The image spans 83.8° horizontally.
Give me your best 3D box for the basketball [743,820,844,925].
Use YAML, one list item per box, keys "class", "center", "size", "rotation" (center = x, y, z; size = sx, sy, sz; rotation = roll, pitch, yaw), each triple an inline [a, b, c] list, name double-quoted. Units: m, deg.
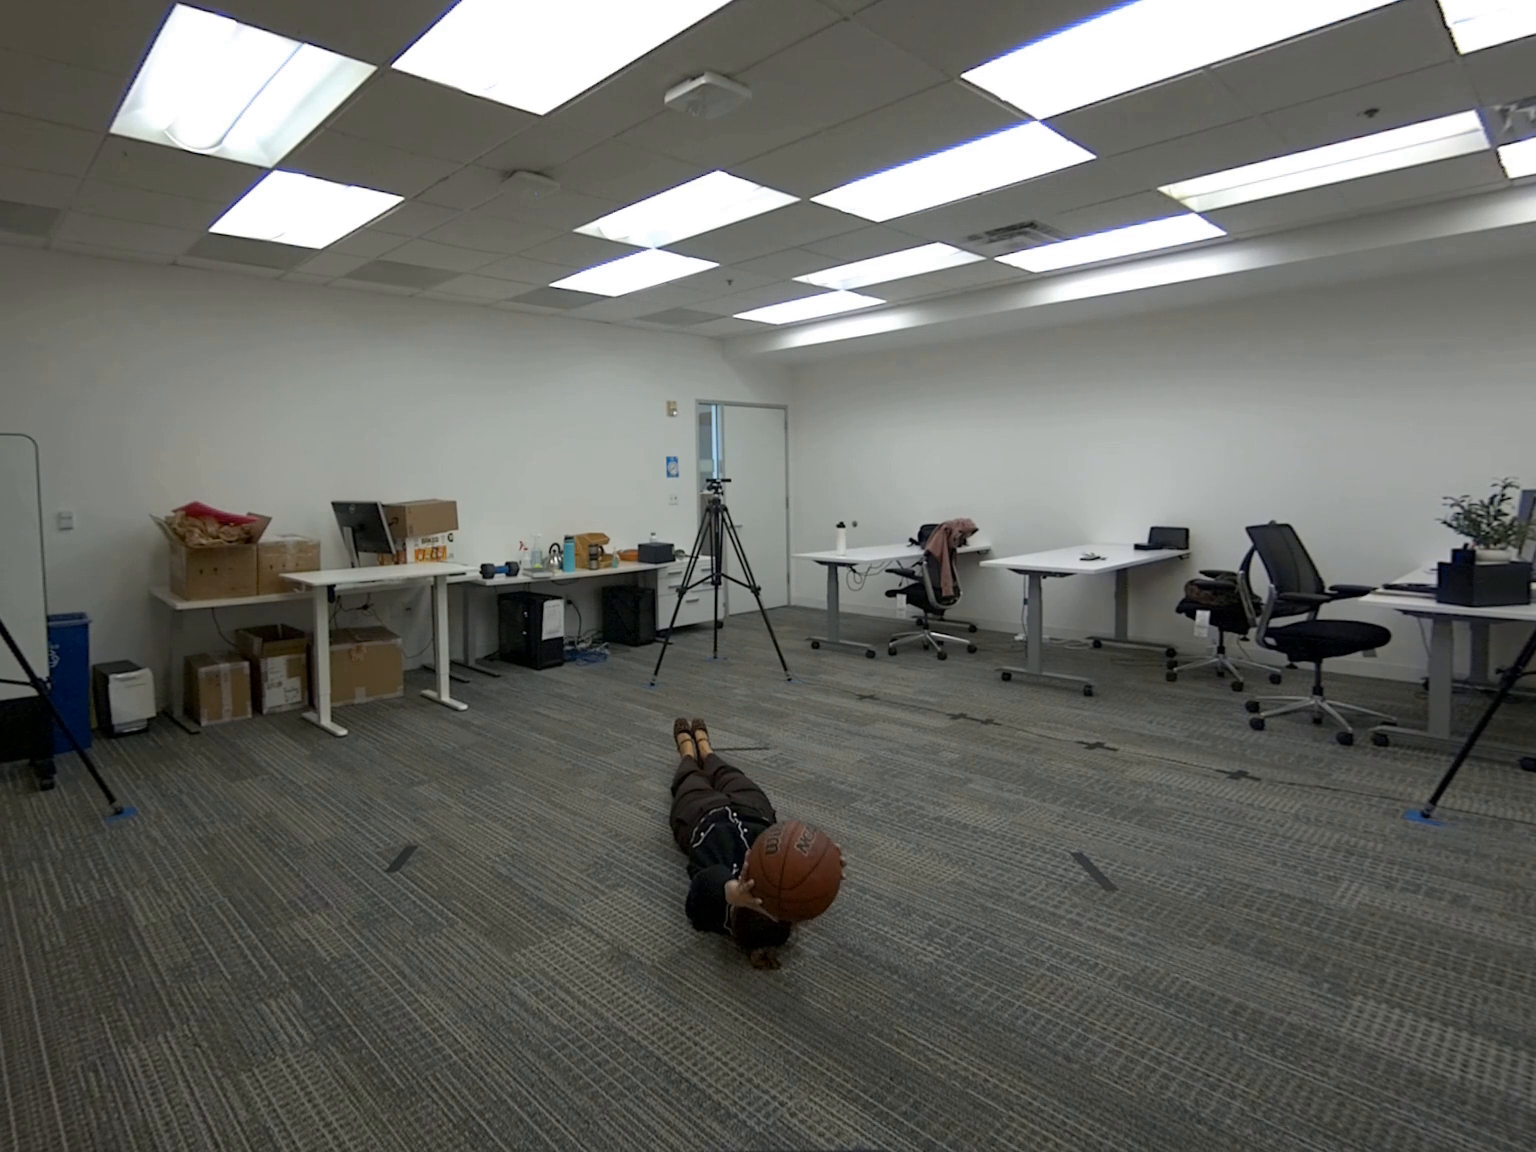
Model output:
- class: "basketball"
  center: [0.077, 0.732, 2.135]
  size: [0.236, 0.235, 0.237]
  rotation: [-1, 5, -2]
